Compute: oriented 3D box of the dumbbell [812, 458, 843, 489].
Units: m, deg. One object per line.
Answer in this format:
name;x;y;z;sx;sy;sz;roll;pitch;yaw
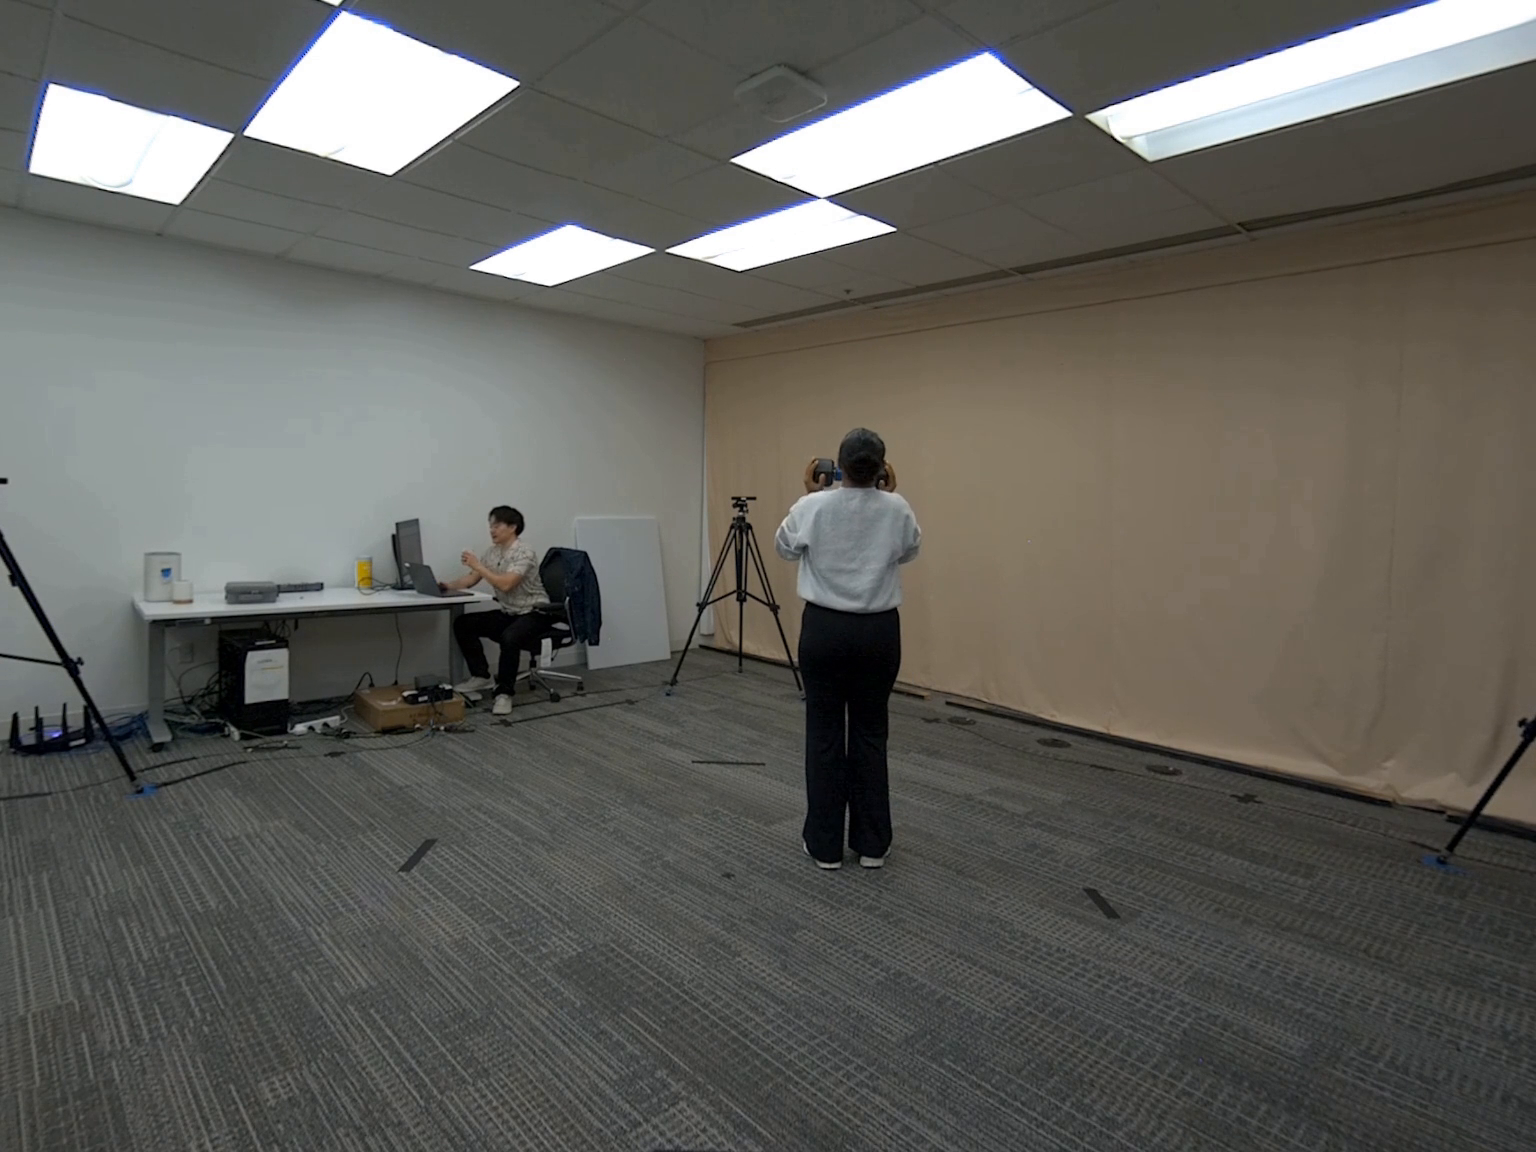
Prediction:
dumbbell;0.319;-0.415;3.289;0.294;0.125;0.106;2;-31;1
